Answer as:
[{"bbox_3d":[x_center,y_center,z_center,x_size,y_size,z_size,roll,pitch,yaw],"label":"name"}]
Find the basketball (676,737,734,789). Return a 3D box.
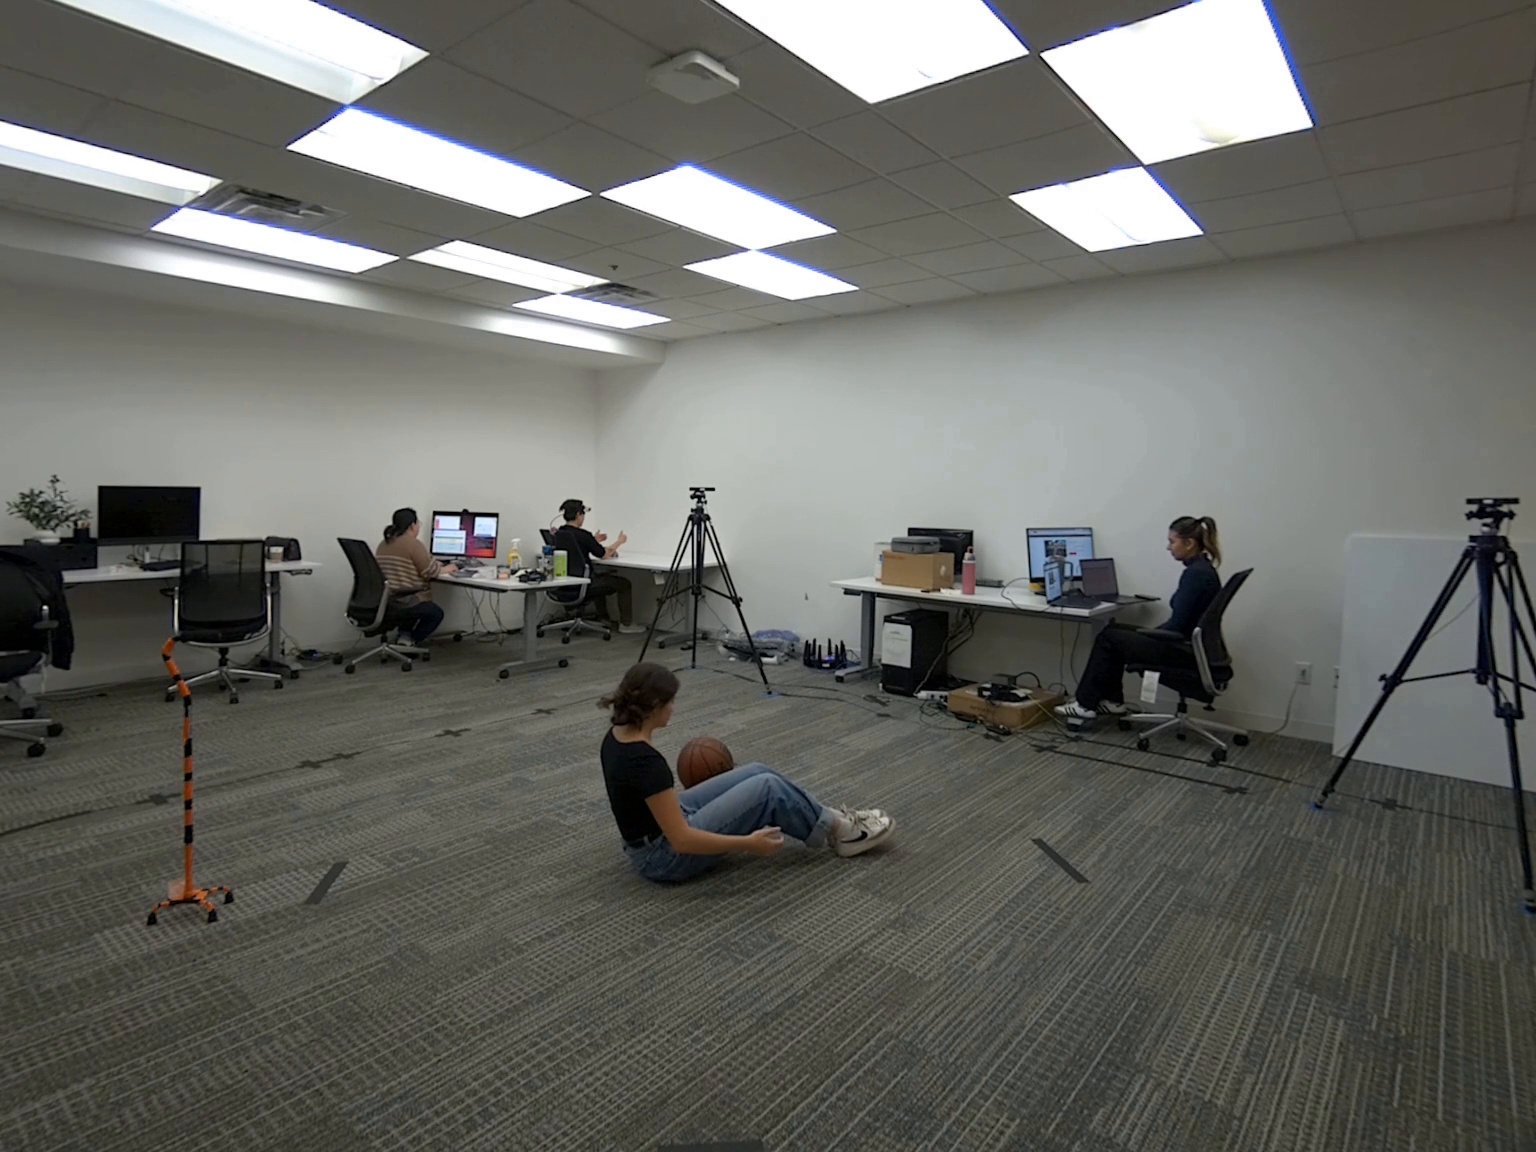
[{"bbox_3d":[-0.278,0.790,3.555,0.235,0.235,0.237,1,4,-2],"label":"basketball"}]
